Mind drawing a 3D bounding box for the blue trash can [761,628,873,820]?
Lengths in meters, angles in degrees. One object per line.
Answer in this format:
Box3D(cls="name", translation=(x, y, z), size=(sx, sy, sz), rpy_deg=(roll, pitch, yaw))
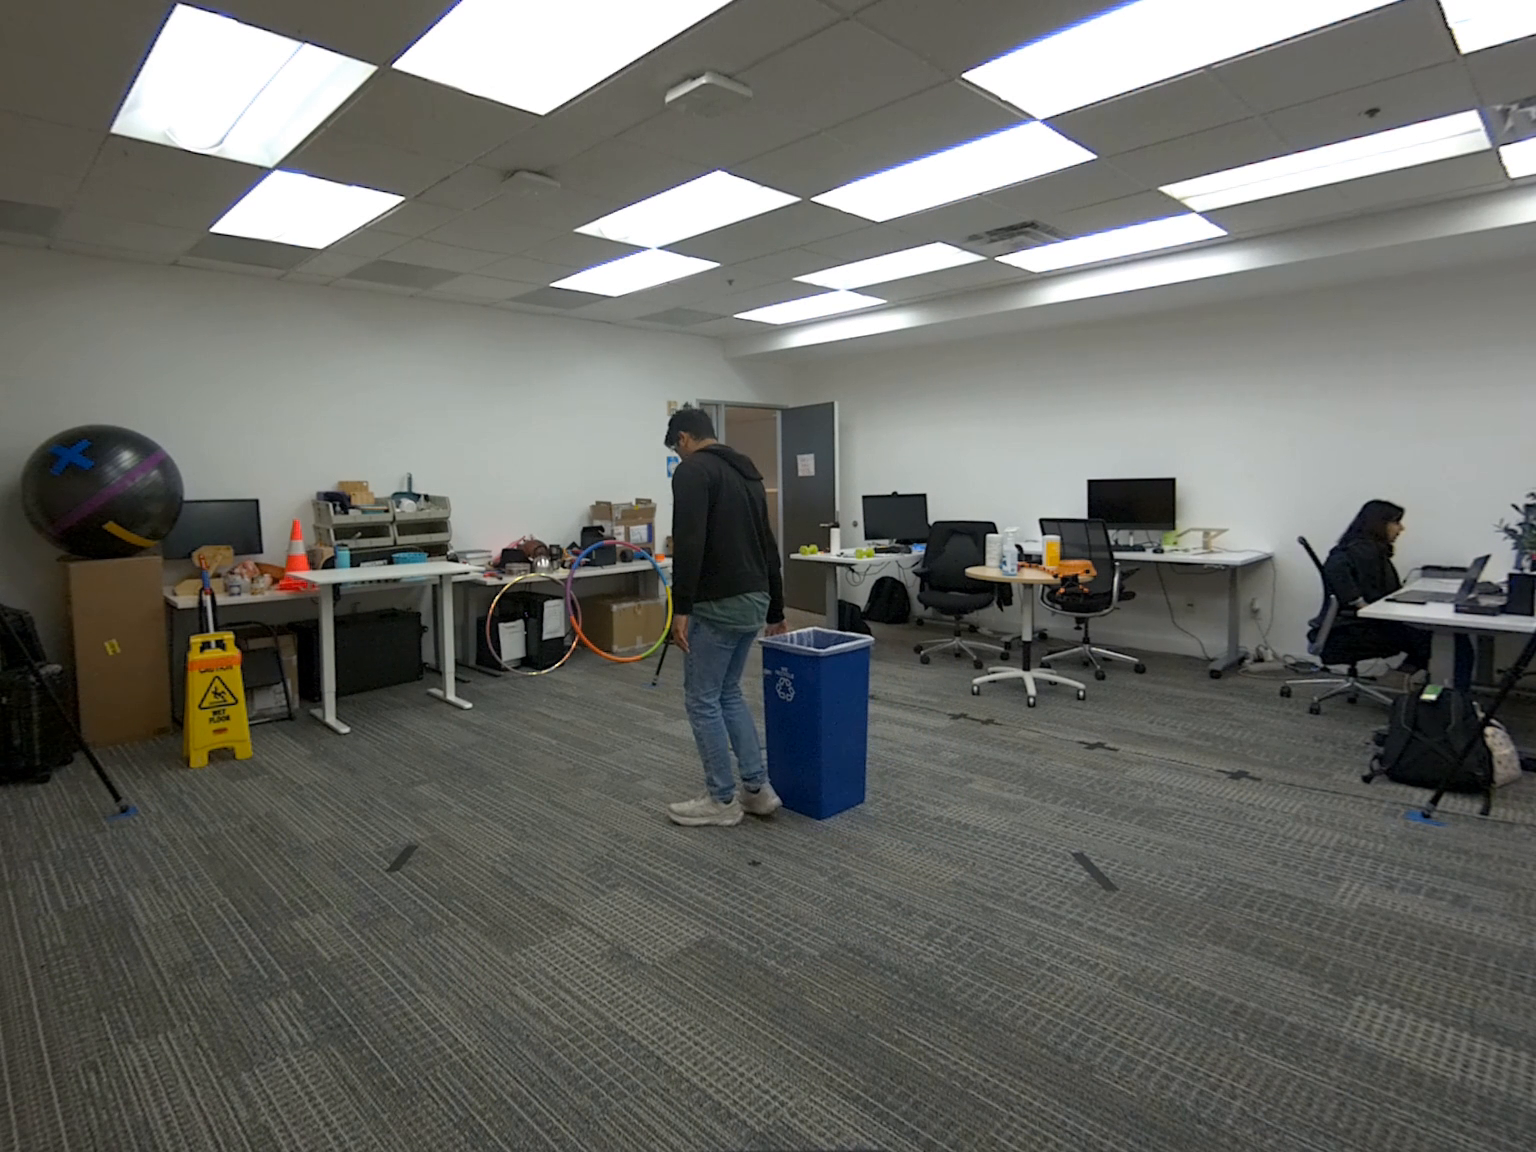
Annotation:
Box3D(cls="blue trash can", translation=(0.207, 0.616, 3.657), size=(0.390, 0.711, 0.364), rpy_deg=(4, 6, 45))
